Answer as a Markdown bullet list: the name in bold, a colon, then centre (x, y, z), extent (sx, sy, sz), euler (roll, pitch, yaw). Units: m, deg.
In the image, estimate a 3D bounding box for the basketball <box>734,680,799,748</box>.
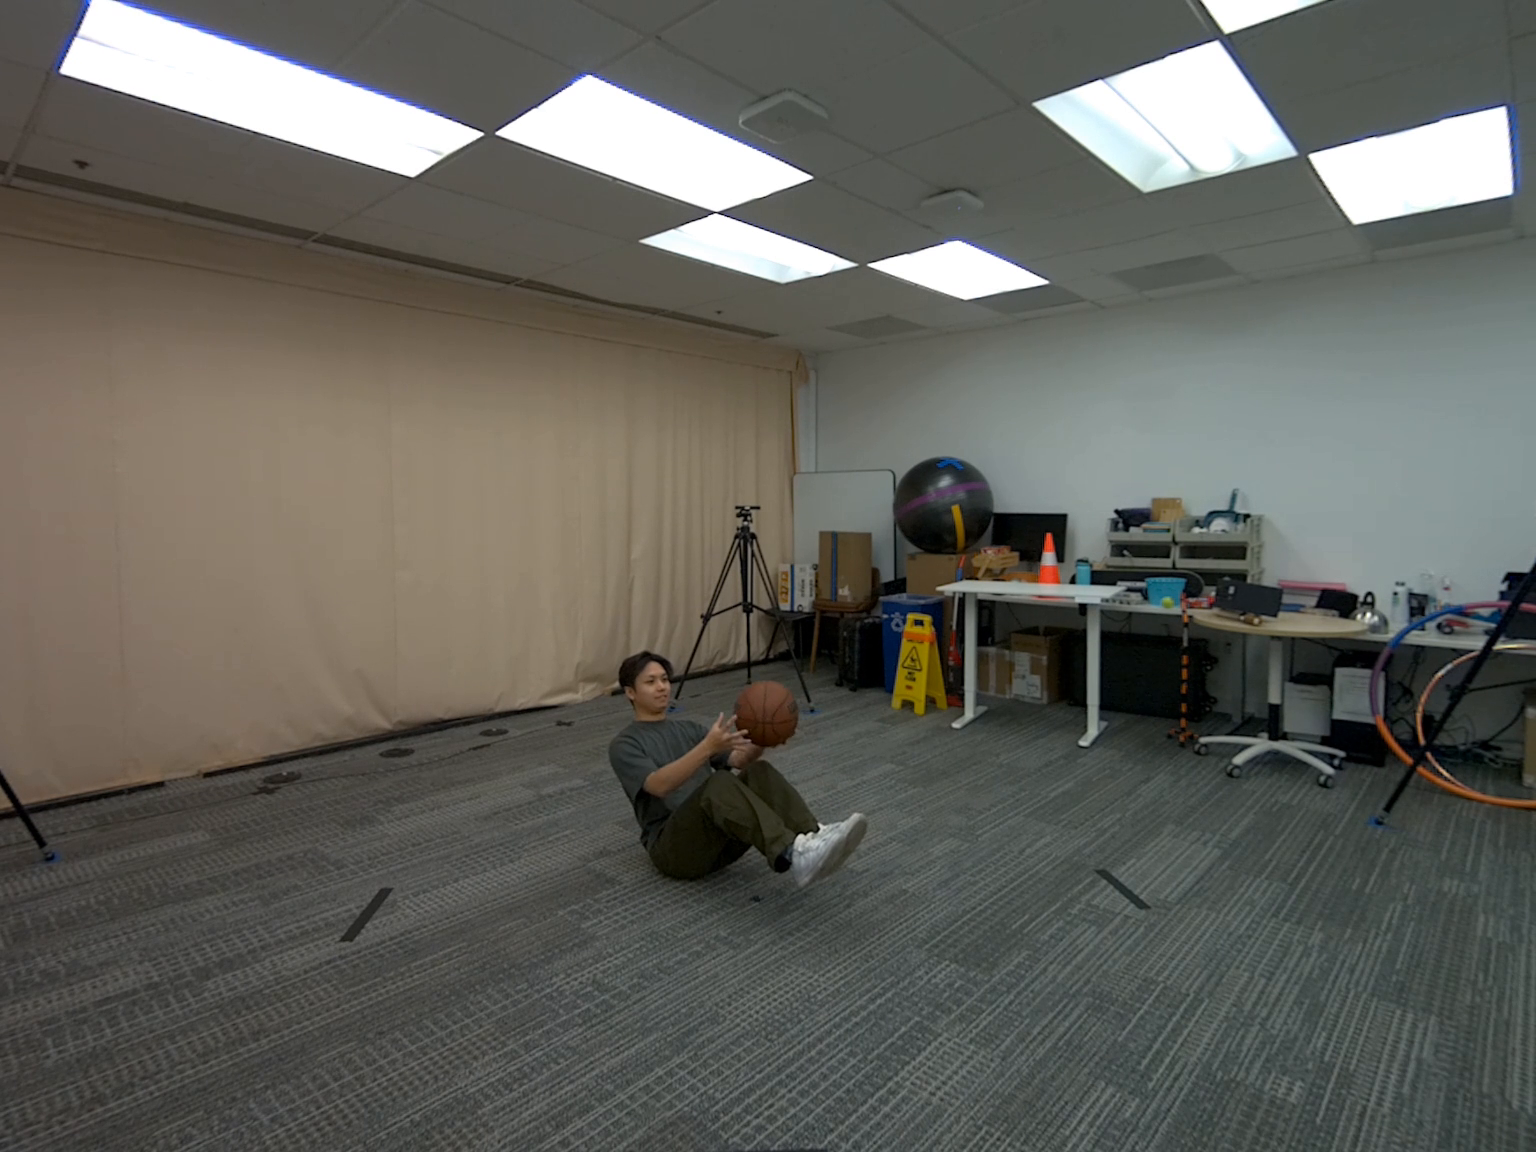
- **basketball**: centre (-0.001, 0.513, 3.073), extent (0.236, 0.235, 0.237), euler (0, 4, -2)
